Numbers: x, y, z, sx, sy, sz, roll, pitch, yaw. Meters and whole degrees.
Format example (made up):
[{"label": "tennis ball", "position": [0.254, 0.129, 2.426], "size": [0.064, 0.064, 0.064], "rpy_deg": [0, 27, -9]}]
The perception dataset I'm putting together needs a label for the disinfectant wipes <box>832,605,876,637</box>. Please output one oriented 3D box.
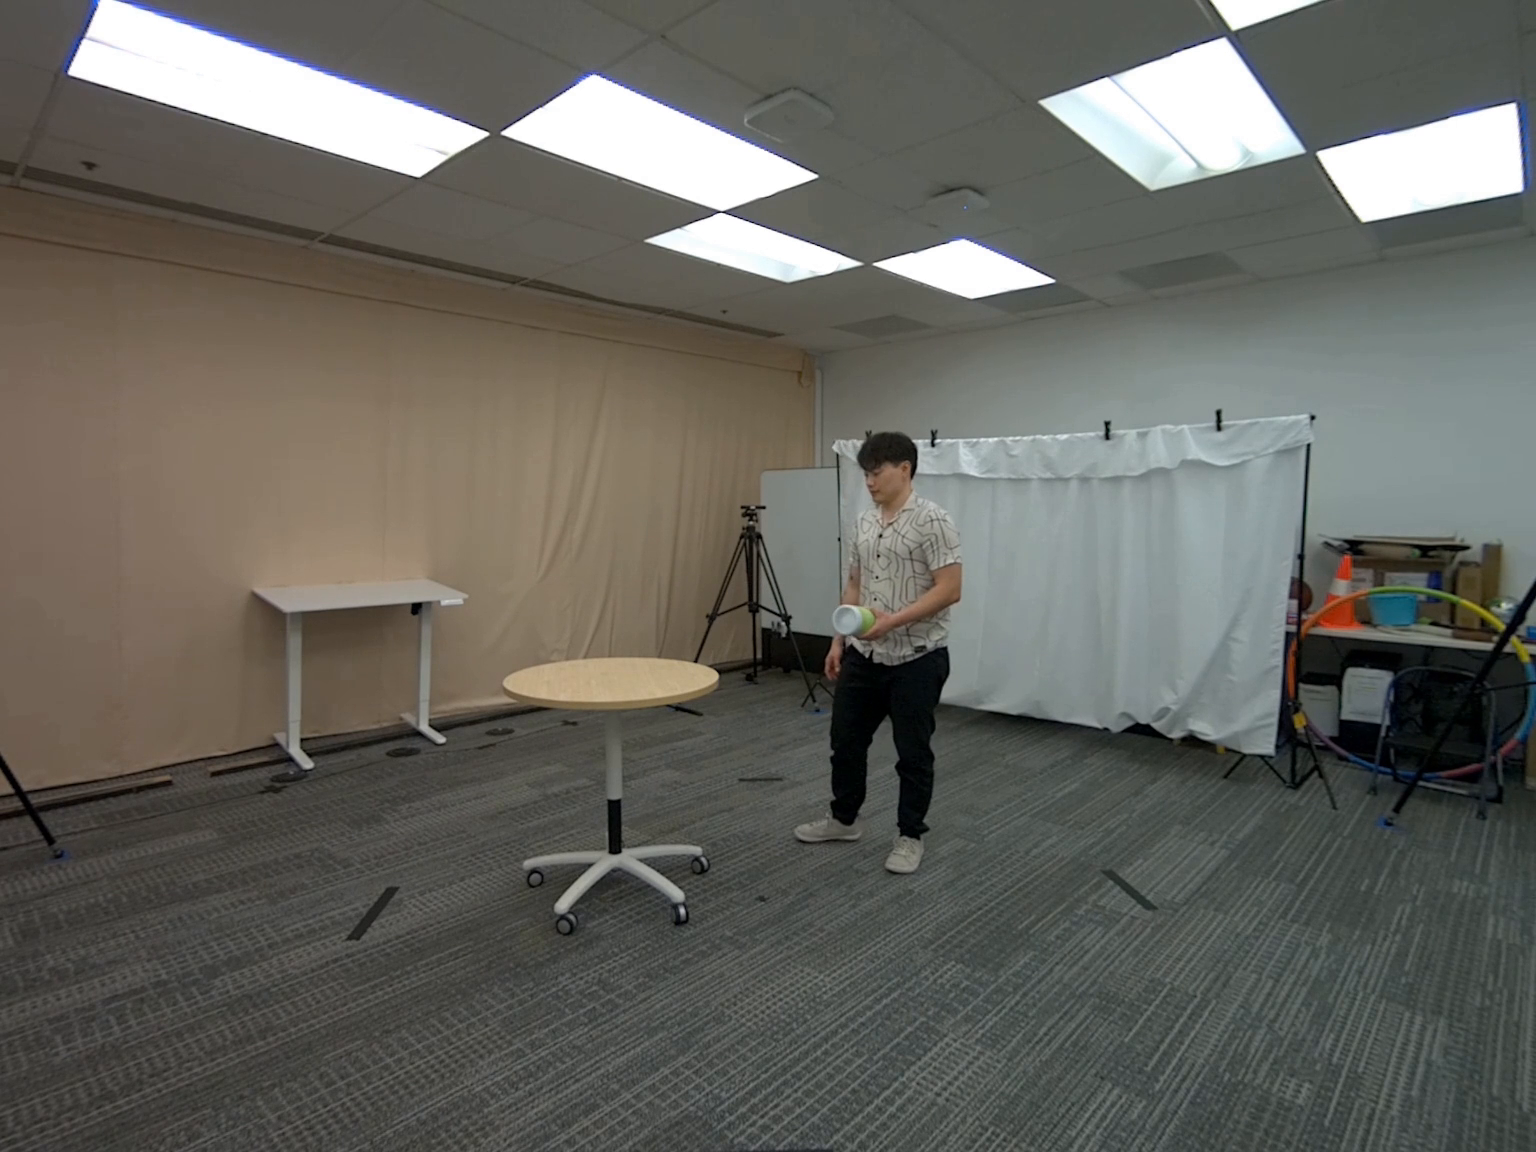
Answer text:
[{"label": "disinfectant wipes", "position": [0.322, 0.168, 3.044], "size": [0.121, 0.118, 0.210], "rpy_deg": [3, -6, 34]}]
